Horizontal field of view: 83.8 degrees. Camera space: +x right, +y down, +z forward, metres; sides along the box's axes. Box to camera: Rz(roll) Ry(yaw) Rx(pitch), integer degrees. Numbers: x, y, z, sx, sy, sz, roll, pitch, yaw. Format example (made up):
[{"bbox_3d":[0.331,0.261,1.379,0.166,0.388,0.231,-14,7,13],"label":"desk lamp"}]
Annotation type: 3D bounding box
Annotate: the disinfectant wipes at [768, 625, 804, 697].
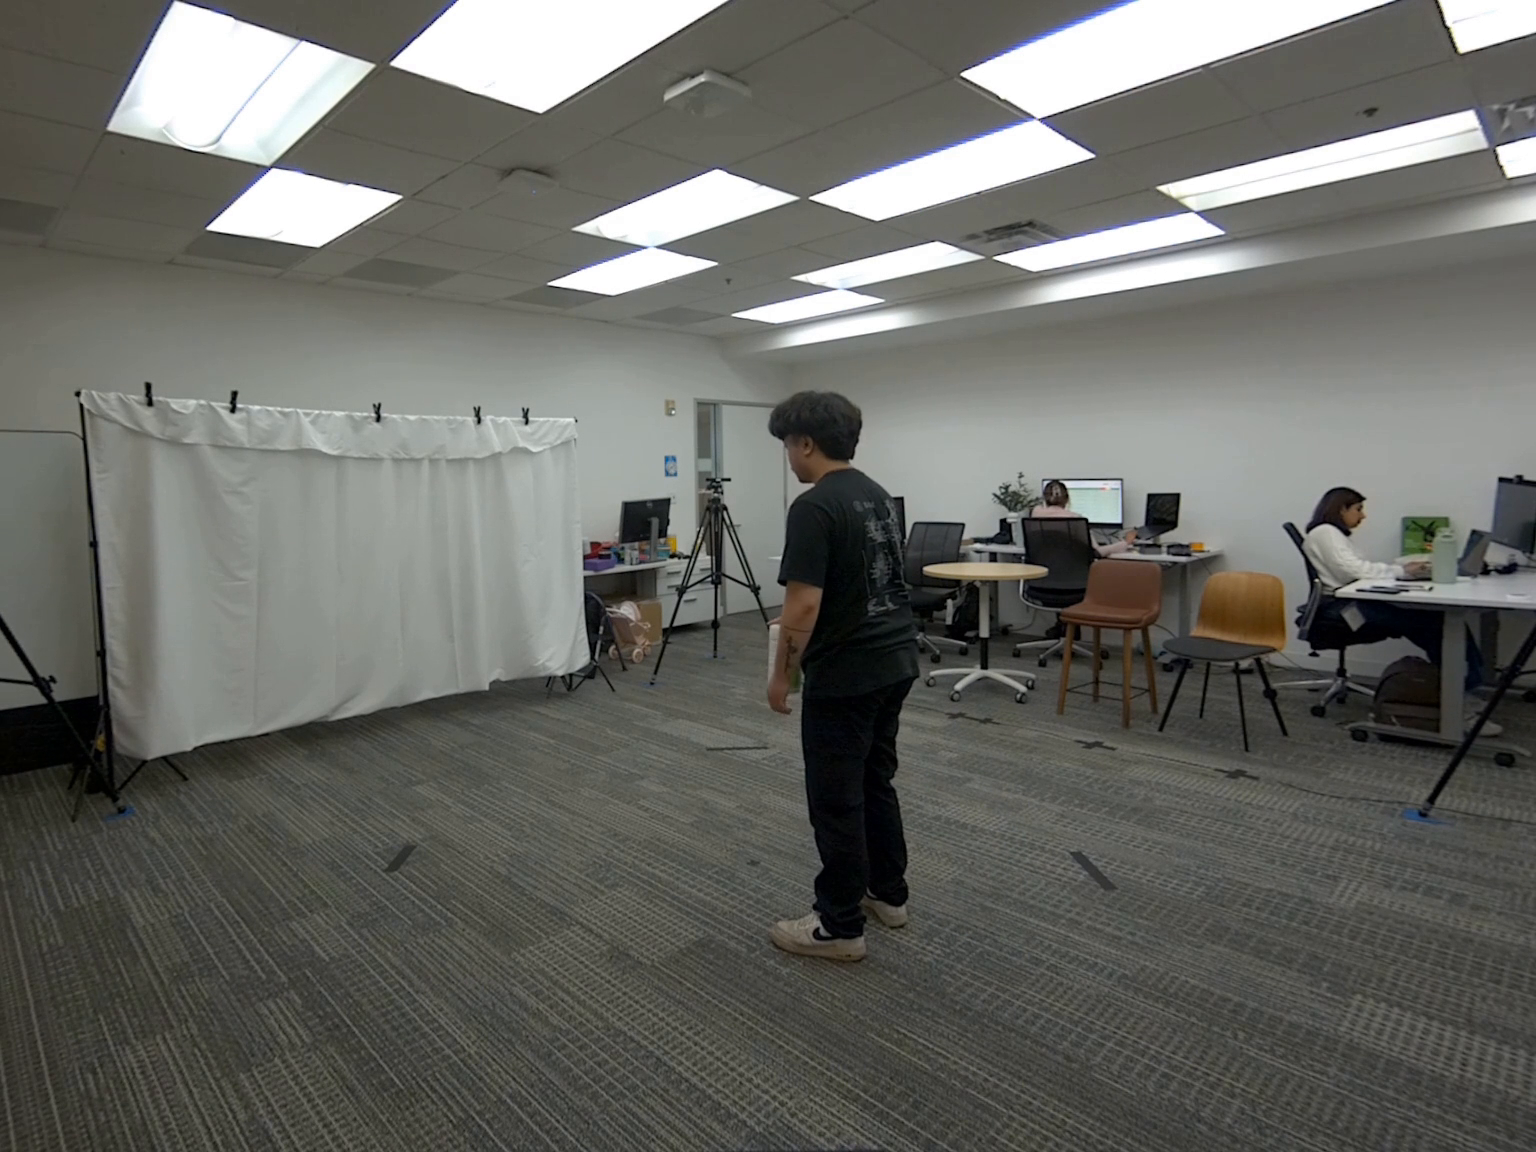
[{"bbox_3d":[0.064,0.273,2.761,0.118,0.218,0.118,1,-1,-2],"label":"disinfectant wipes"}]
